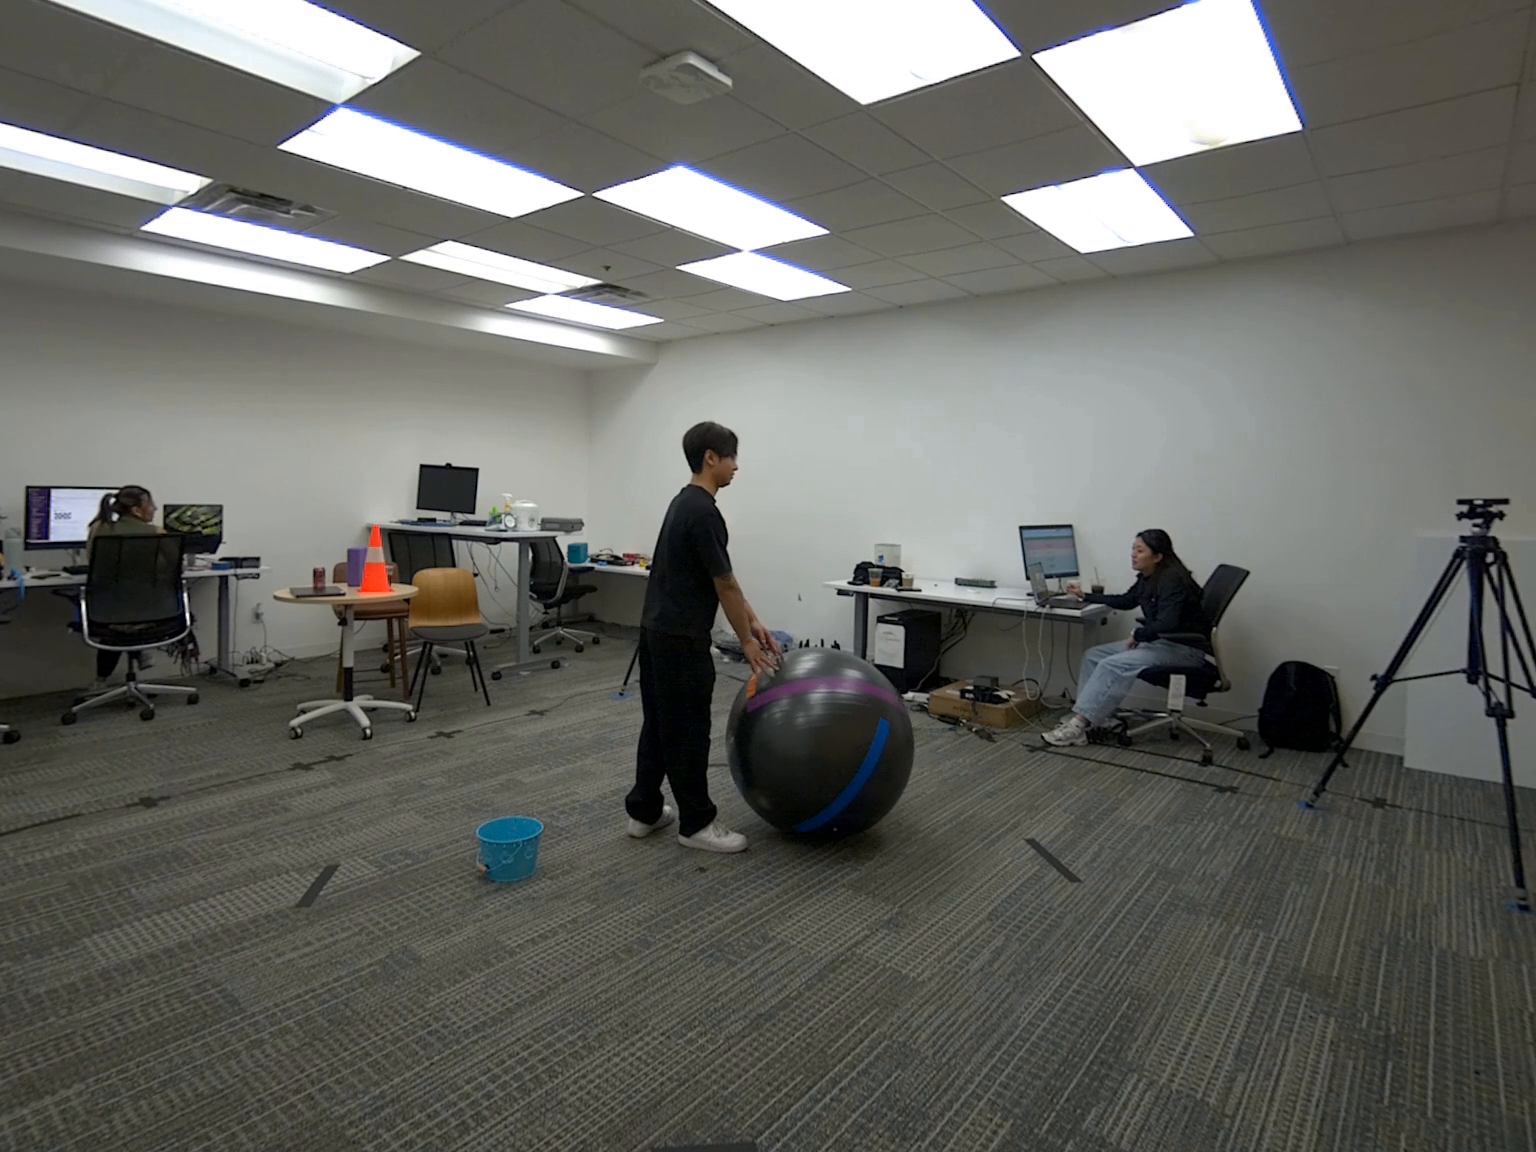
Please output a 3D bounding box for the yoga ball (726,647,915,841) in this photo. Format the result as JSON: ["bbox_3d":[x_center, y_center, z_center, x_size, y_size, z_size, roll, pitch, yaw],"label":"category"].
[{"bbox_3d":[0.206,0.676,3.464,0.757,0.755,0.762,1,4,-2],"label":"yoga ball"}]
